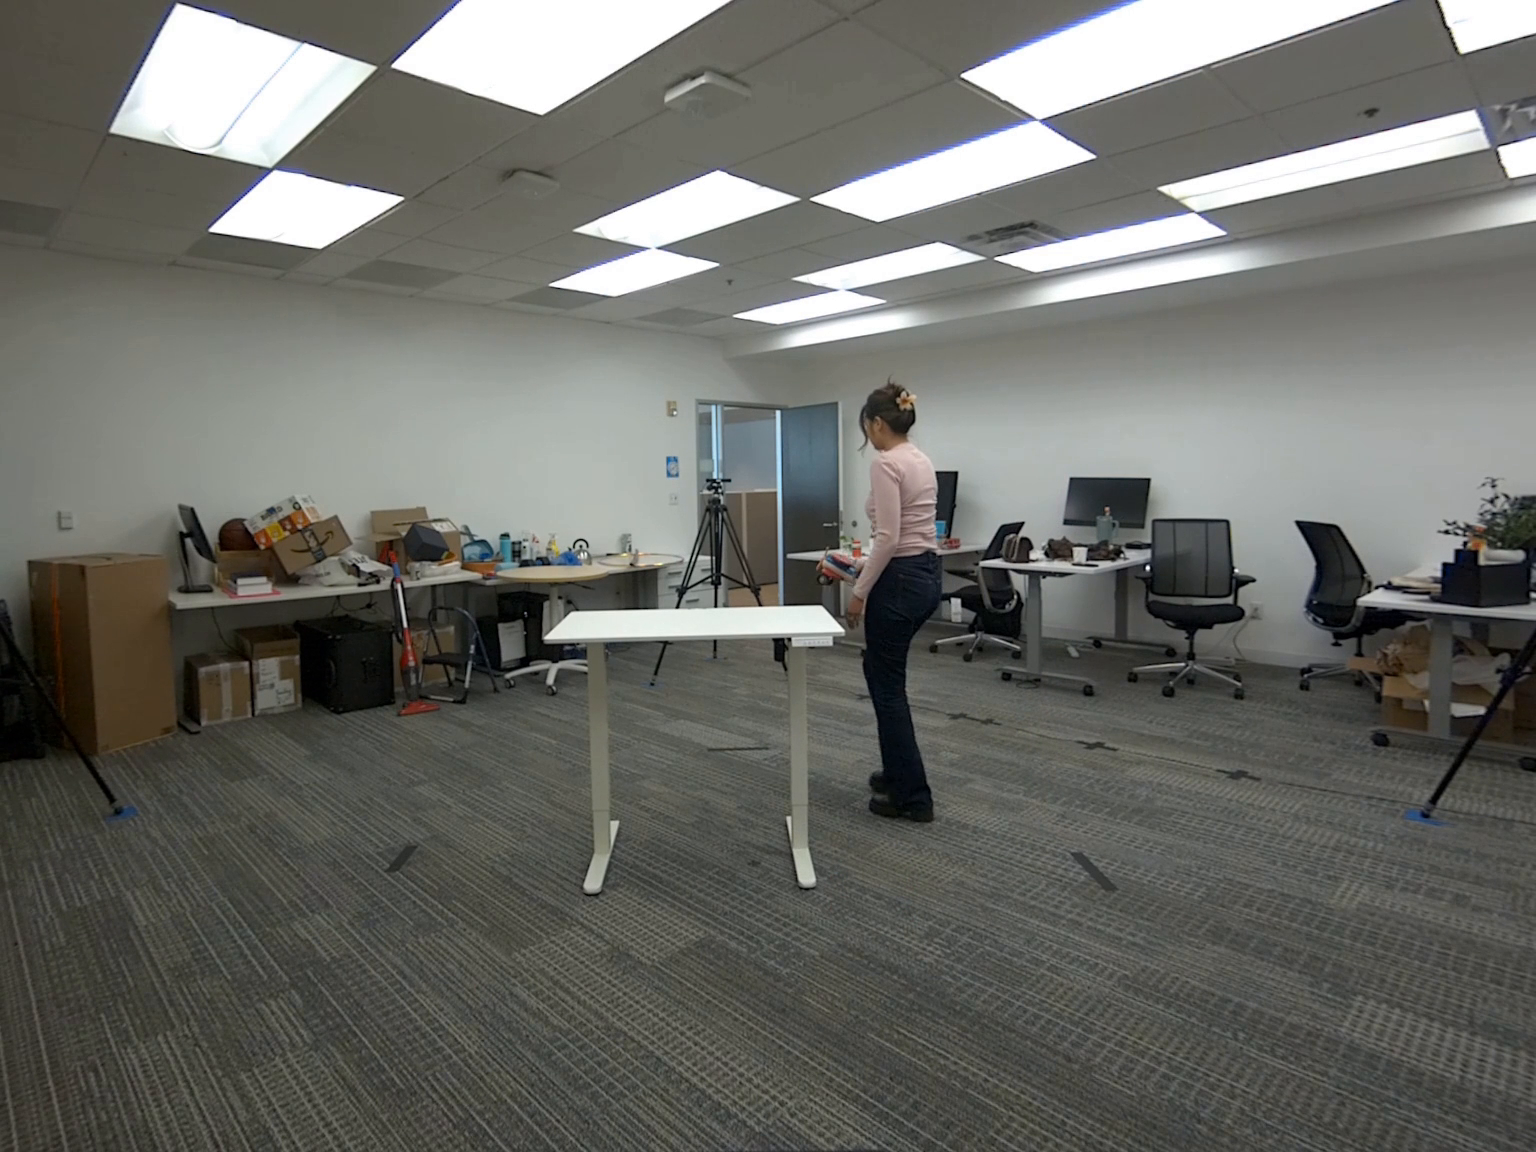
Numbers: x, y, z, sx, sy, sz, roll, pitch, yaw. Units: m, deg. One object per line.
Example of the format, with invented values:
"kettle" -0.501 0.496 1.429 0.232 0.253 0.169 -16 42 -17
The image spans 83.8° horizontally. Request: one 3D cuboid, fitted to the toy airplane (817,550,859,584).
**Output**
"toy airplane" 0.347 -0.012 3.878 0.256 0.156 0.254 14 5 -10
